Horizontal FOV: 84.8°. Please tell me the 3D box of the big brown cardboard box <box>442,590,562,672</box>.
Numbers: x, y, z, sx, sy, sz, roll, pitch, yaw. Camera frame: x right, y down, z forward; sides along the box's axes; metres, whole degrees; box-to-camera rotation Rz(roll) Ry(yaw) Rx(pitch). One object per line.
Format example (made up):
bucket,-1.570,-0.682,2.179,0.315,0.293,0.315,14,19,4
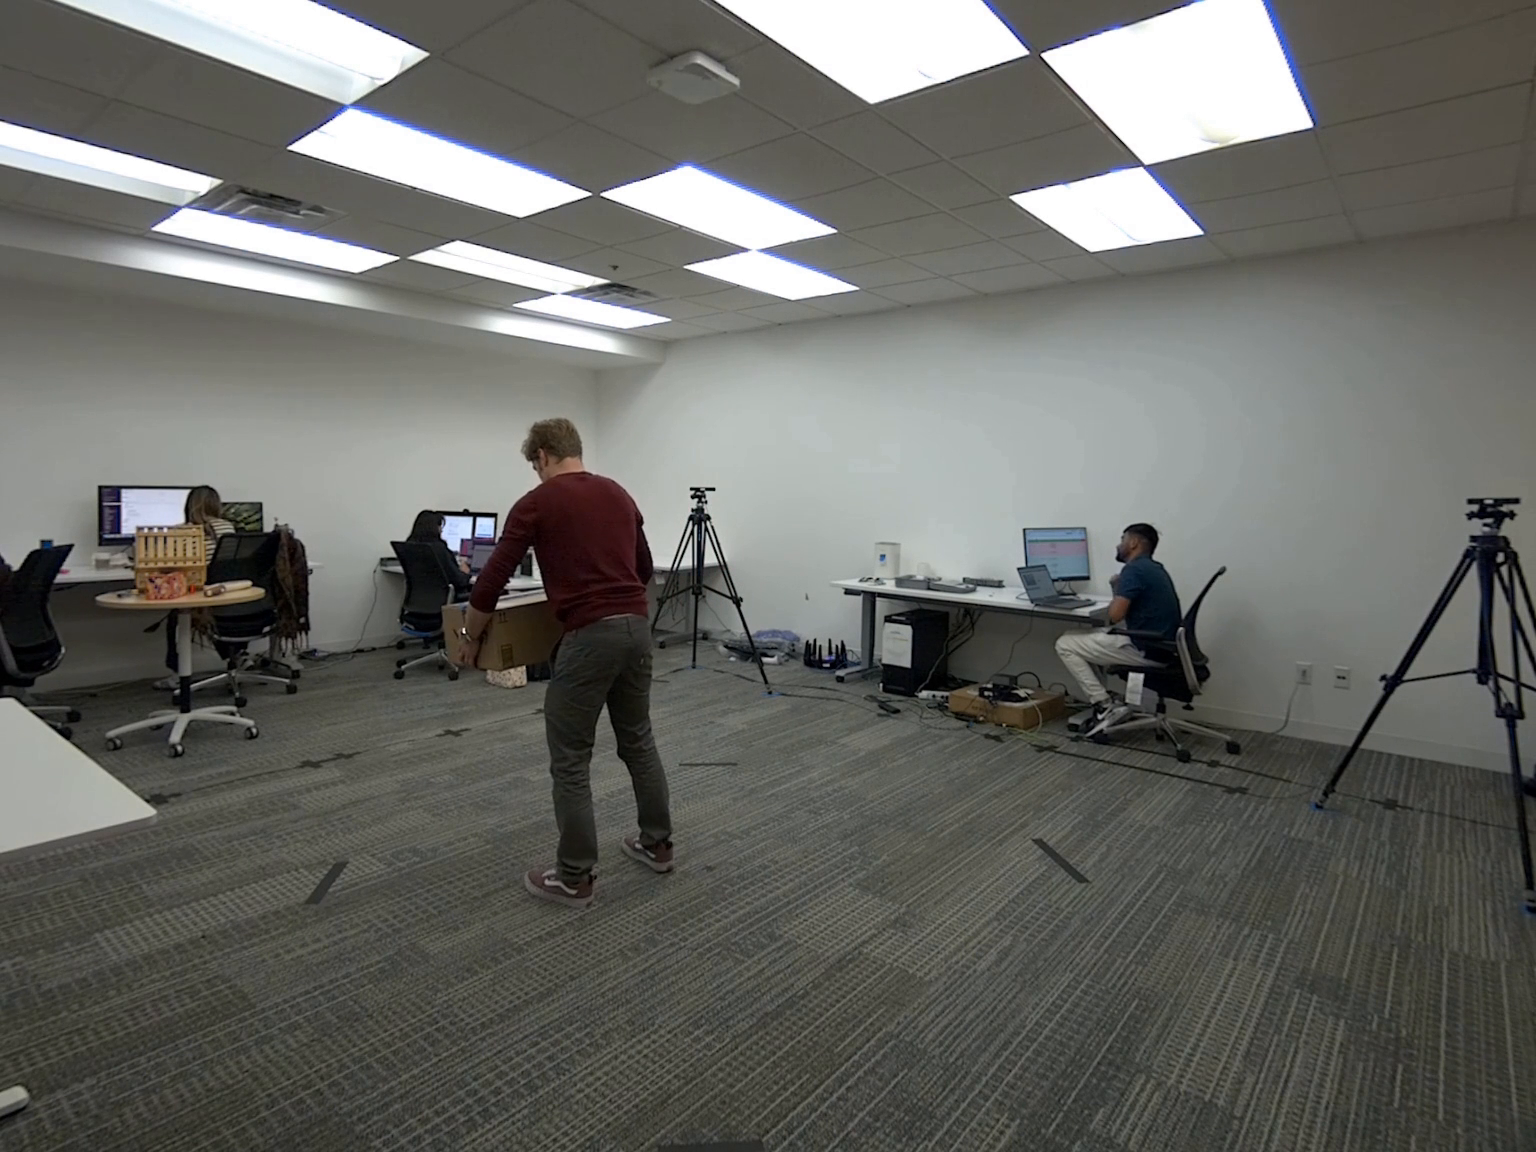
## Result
big brown cardboard box,-0.885,0.179,3.212,0.430,0.232,0.573,-1,6,45
